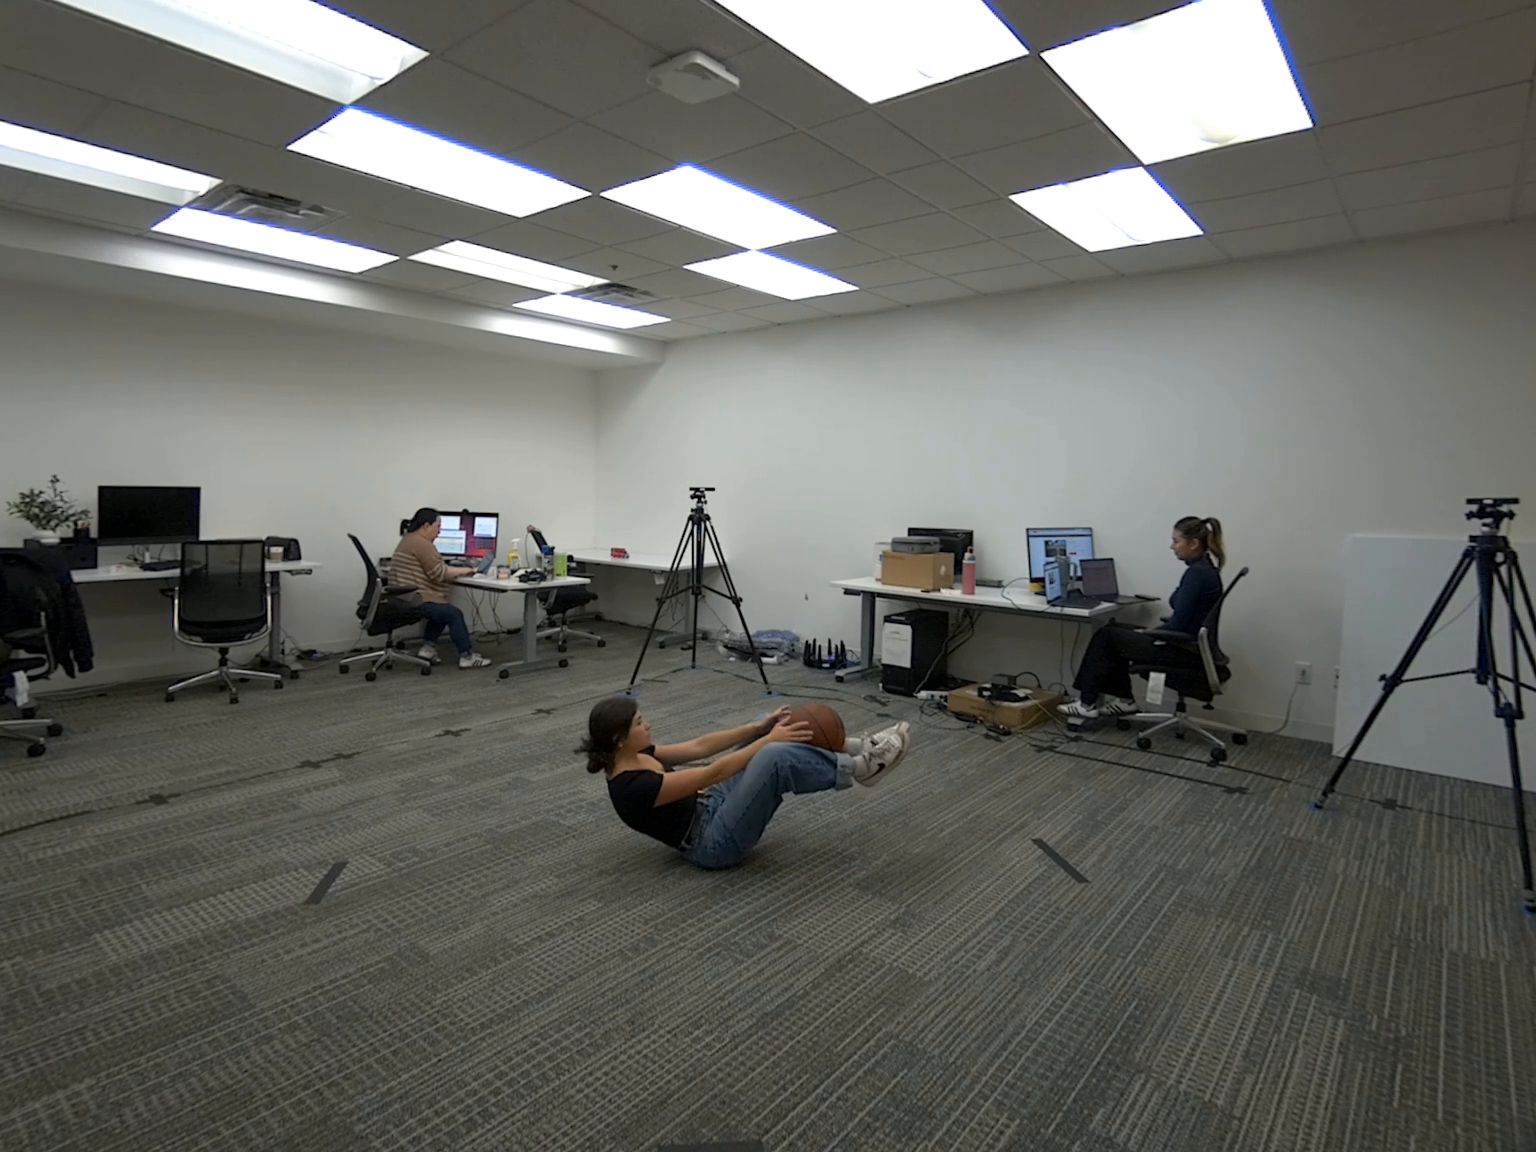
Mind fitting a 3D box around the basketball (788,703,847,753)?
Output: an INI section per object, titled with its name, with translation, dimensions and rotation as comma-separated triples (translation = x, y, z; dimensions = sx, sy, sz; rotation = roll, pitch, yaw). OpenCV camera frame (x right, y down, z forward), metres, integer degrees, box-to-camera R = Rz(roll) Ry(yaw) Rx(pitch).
[basketball]
translation = 0.164, 0.600, 3.257
dimensions = 0.235, 0.235, 0.237
rotation = 1, 4, -2
